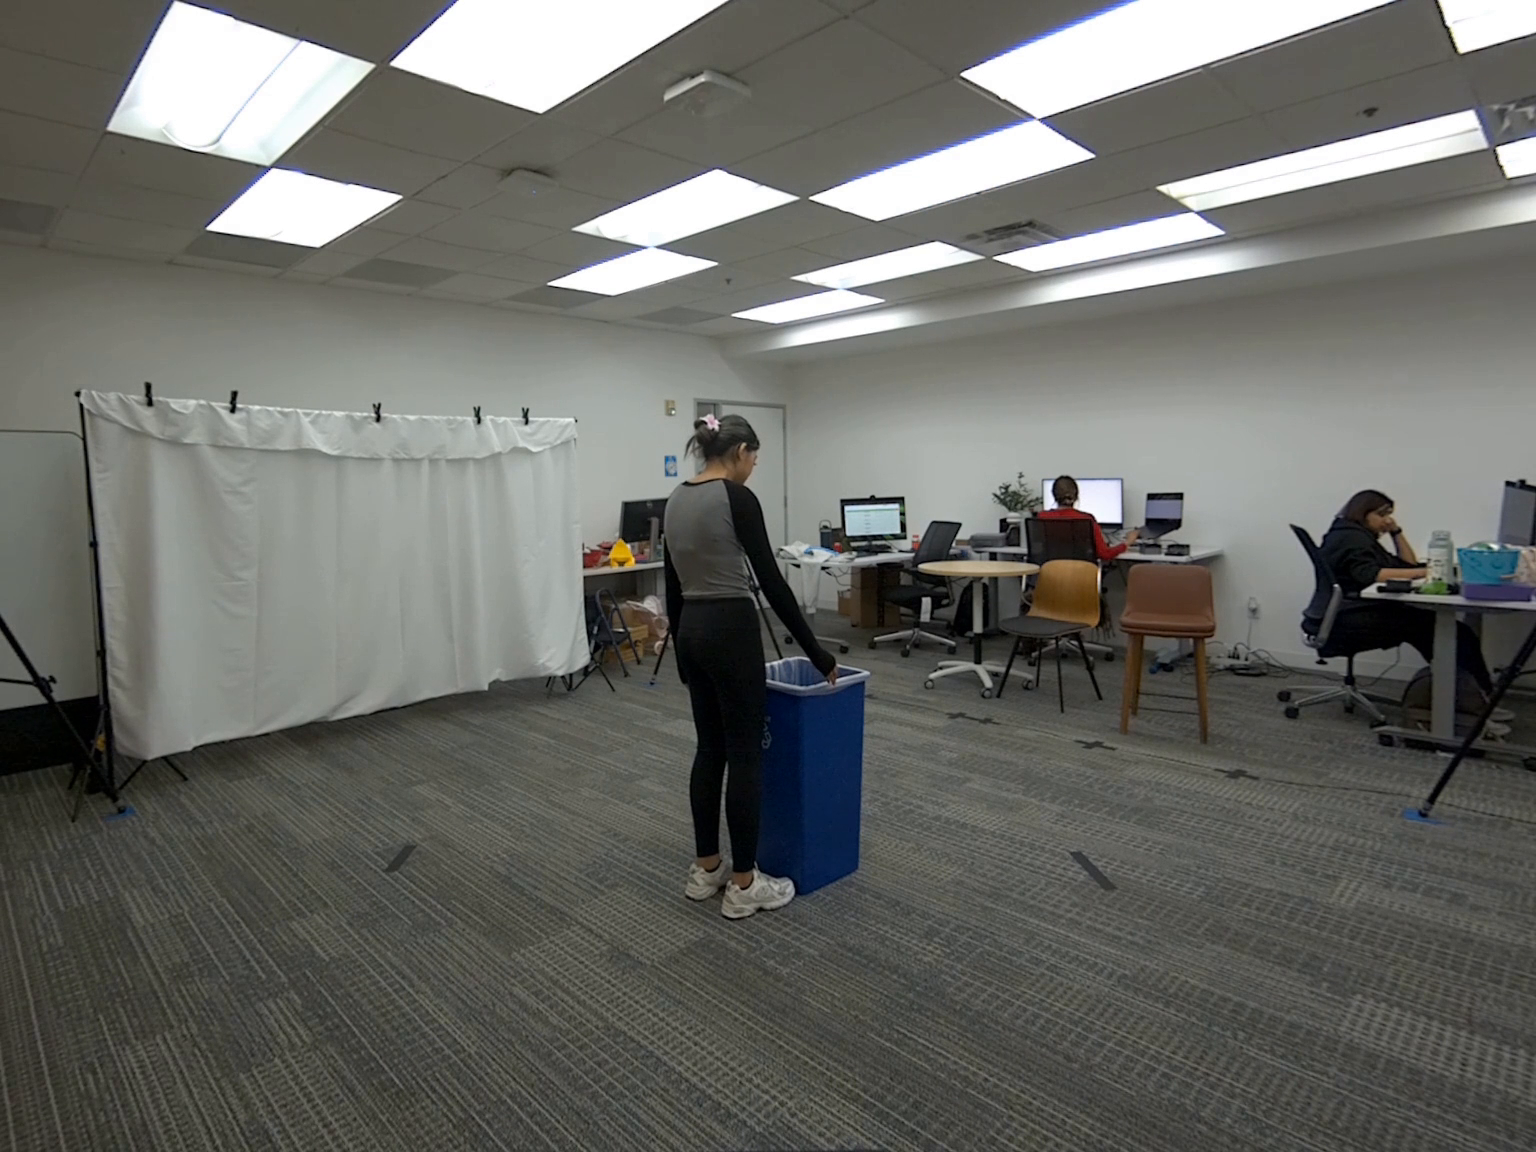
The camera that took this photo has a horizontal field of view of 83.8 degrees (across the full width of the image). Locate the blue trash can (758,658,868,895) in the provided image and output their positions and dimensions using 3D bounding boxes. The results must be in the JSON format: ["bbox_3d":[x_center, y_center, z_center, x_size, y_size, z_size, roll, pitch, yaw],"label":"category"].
[{"bbox_3d":[0.123,0.691,3.034,0.368,0.711,0.385,-5,5,-44],"label":"blue trash can"}]
